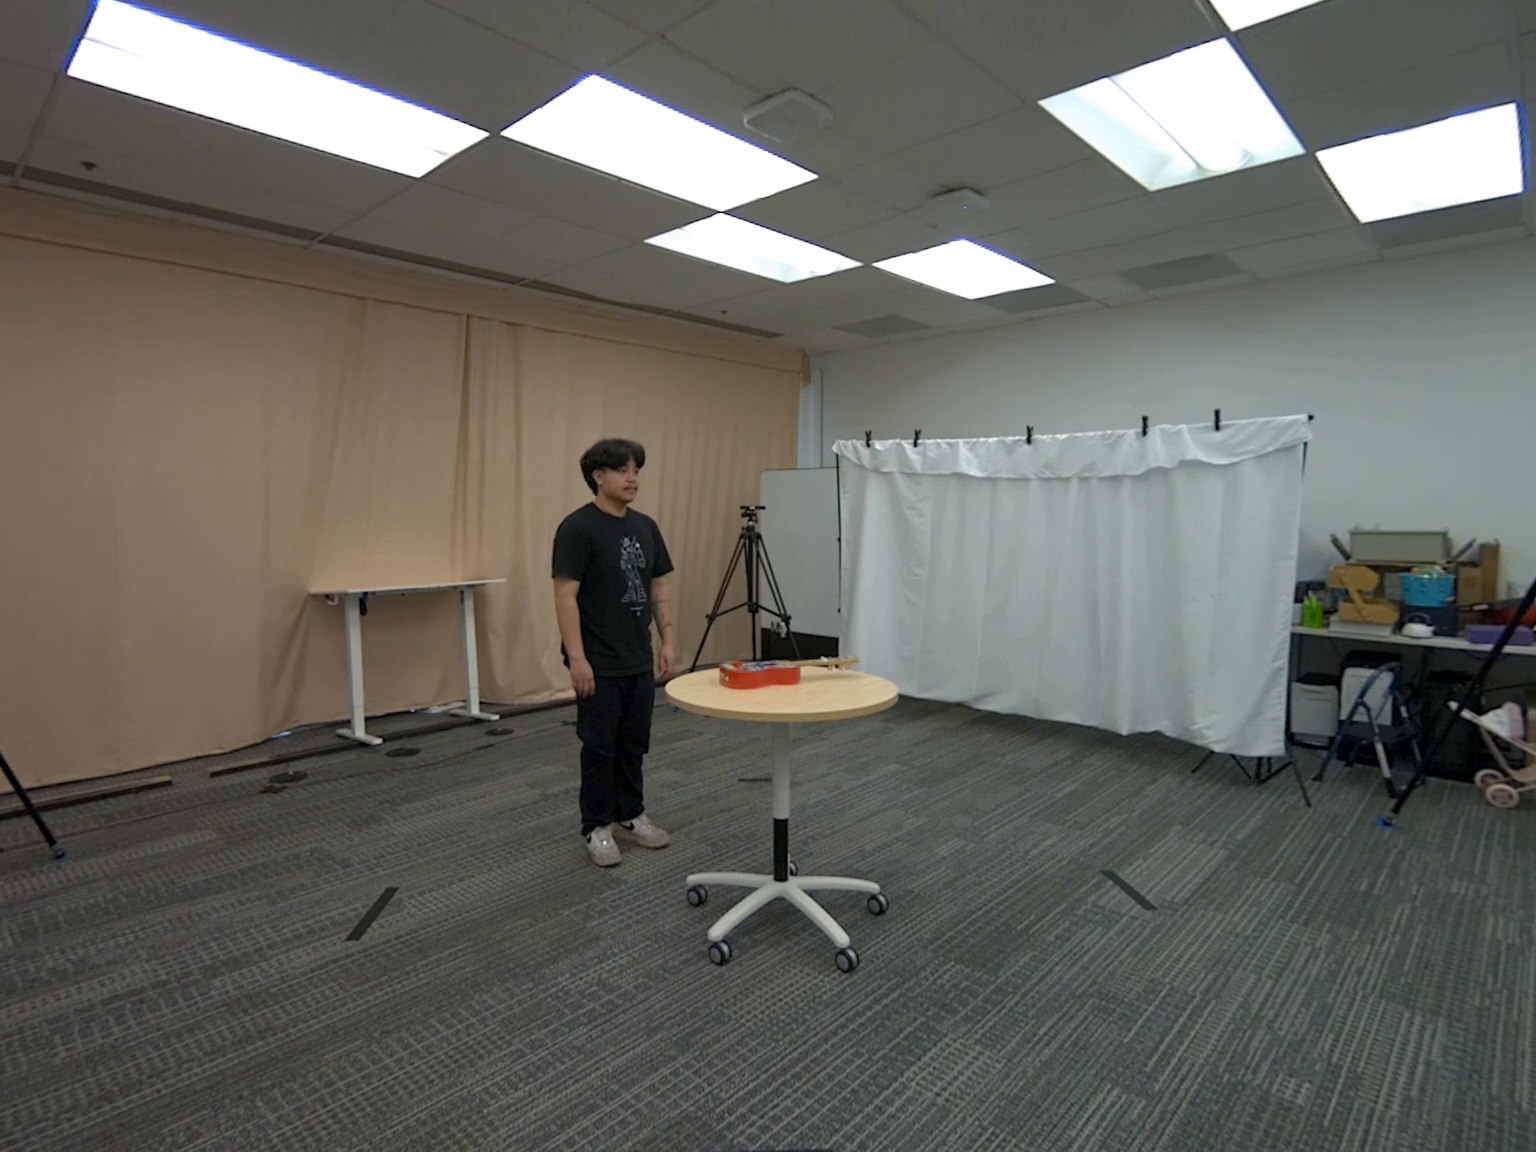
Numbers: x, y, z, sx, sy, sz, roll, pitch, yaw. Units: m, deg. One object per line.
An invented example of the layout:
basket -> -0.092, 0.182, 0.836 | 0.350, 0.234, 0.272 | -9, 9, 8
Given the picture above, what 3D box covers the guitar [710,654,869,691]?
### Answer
guitar -> 0.065, 0.320, 2.848 | 0.493, 0.070, 0.196 | 1, 9, -9
